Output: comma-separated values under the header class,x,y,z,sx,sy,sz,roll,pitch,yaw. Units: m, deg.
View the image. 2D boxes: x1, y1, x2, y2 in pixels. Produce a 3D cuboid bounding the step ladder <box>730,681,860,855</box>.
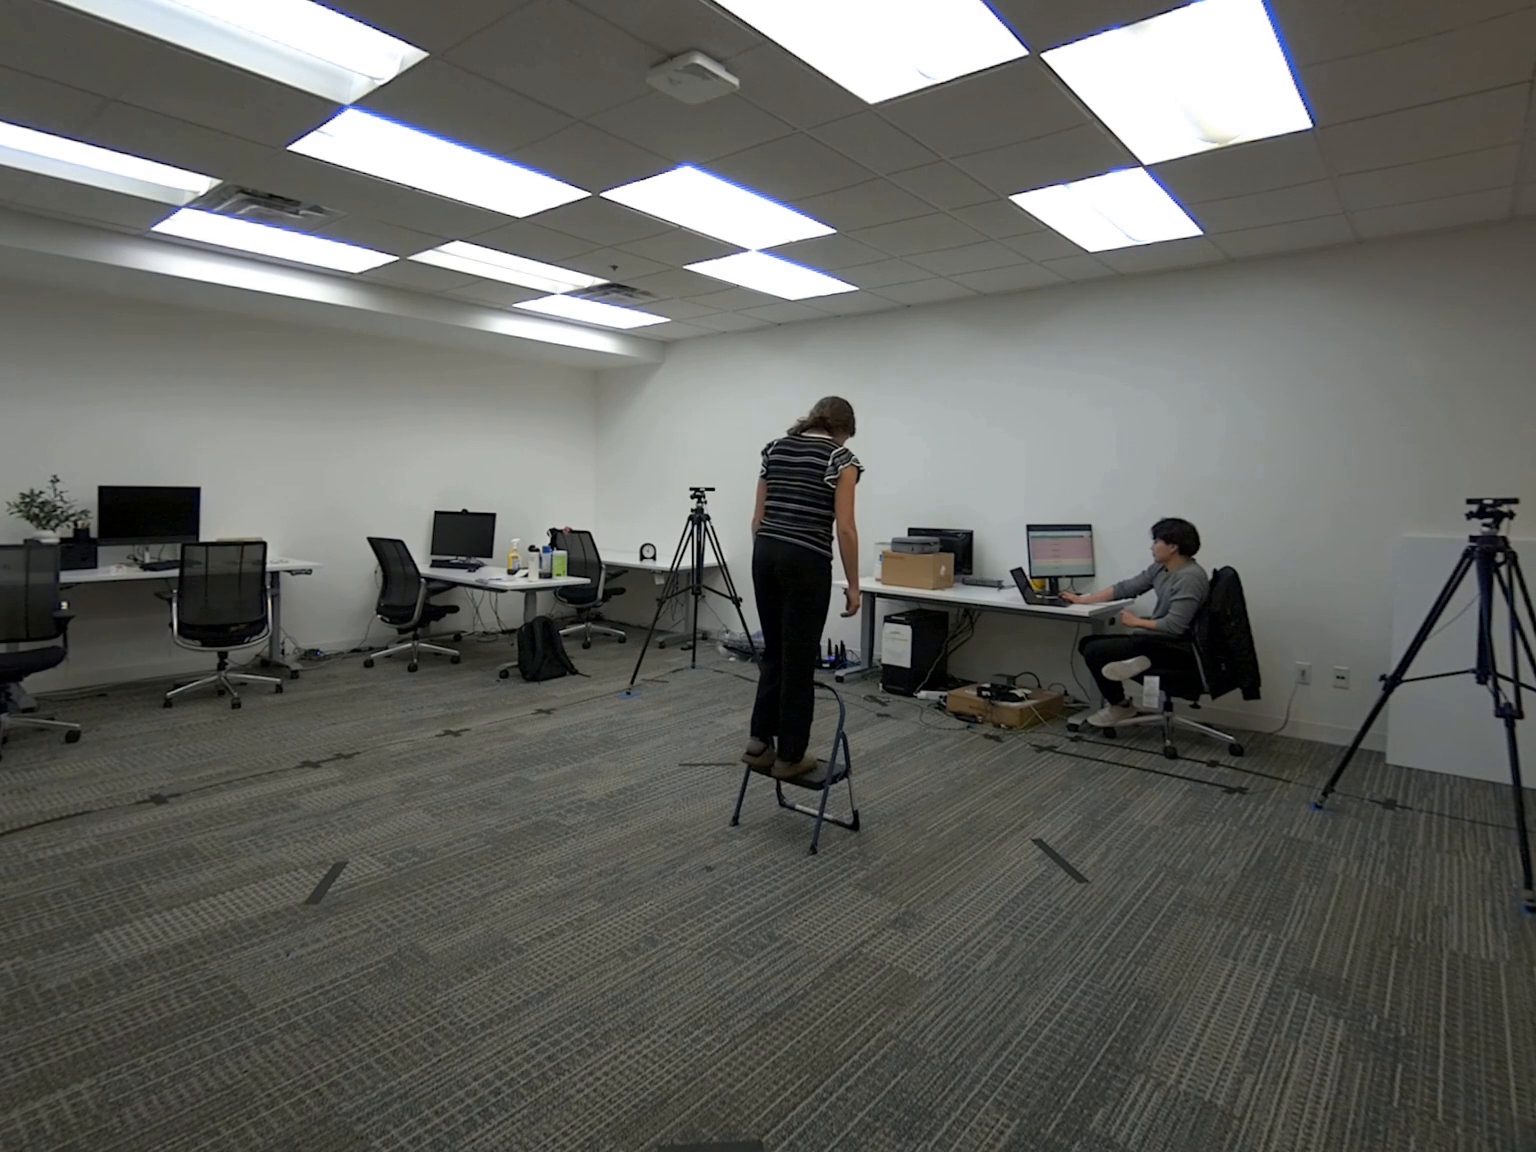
class,x,y,z,sx,sy,sz,roll,pitch,yaw
step ladder,0.114,0.733,3.496,0.445,0.604,0.339,4,4,39
